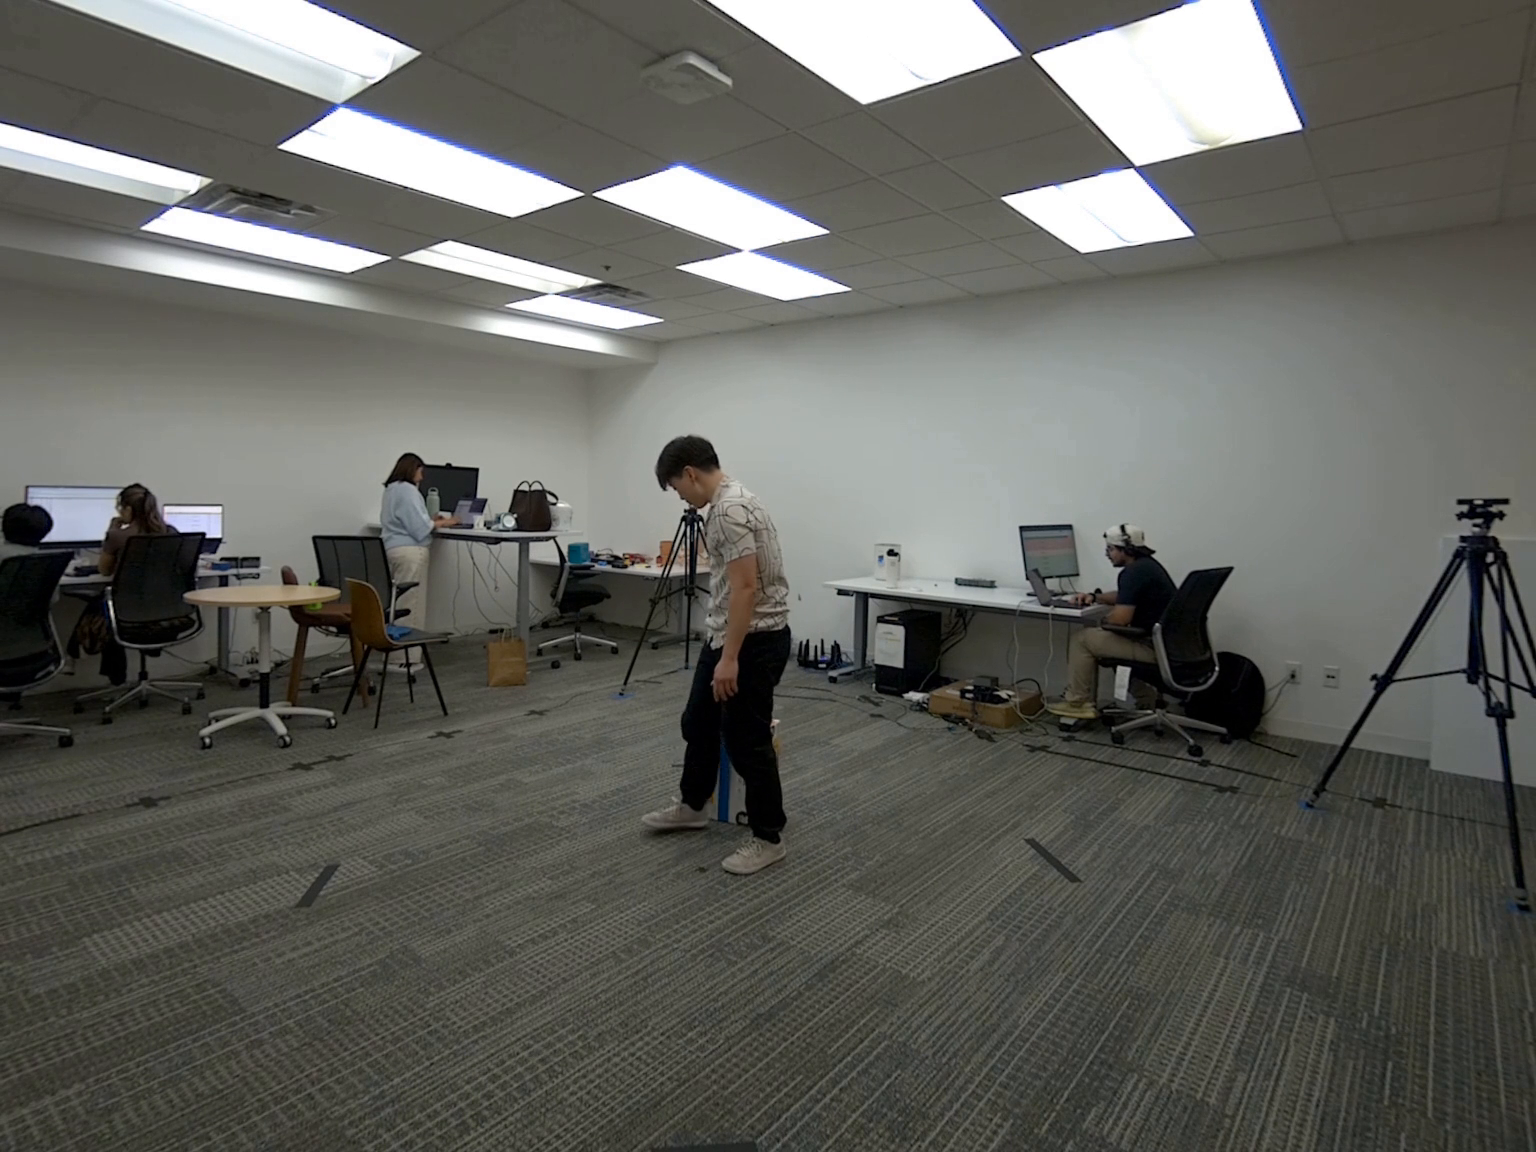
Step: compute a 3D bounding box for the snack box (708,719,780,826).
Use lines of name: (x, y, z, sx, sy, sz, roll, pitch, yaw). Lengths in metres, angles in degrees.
snack box: (-0.150, 0.812, 3.630, 0.349, 0.404, 0.201, 3, 4, 24)
